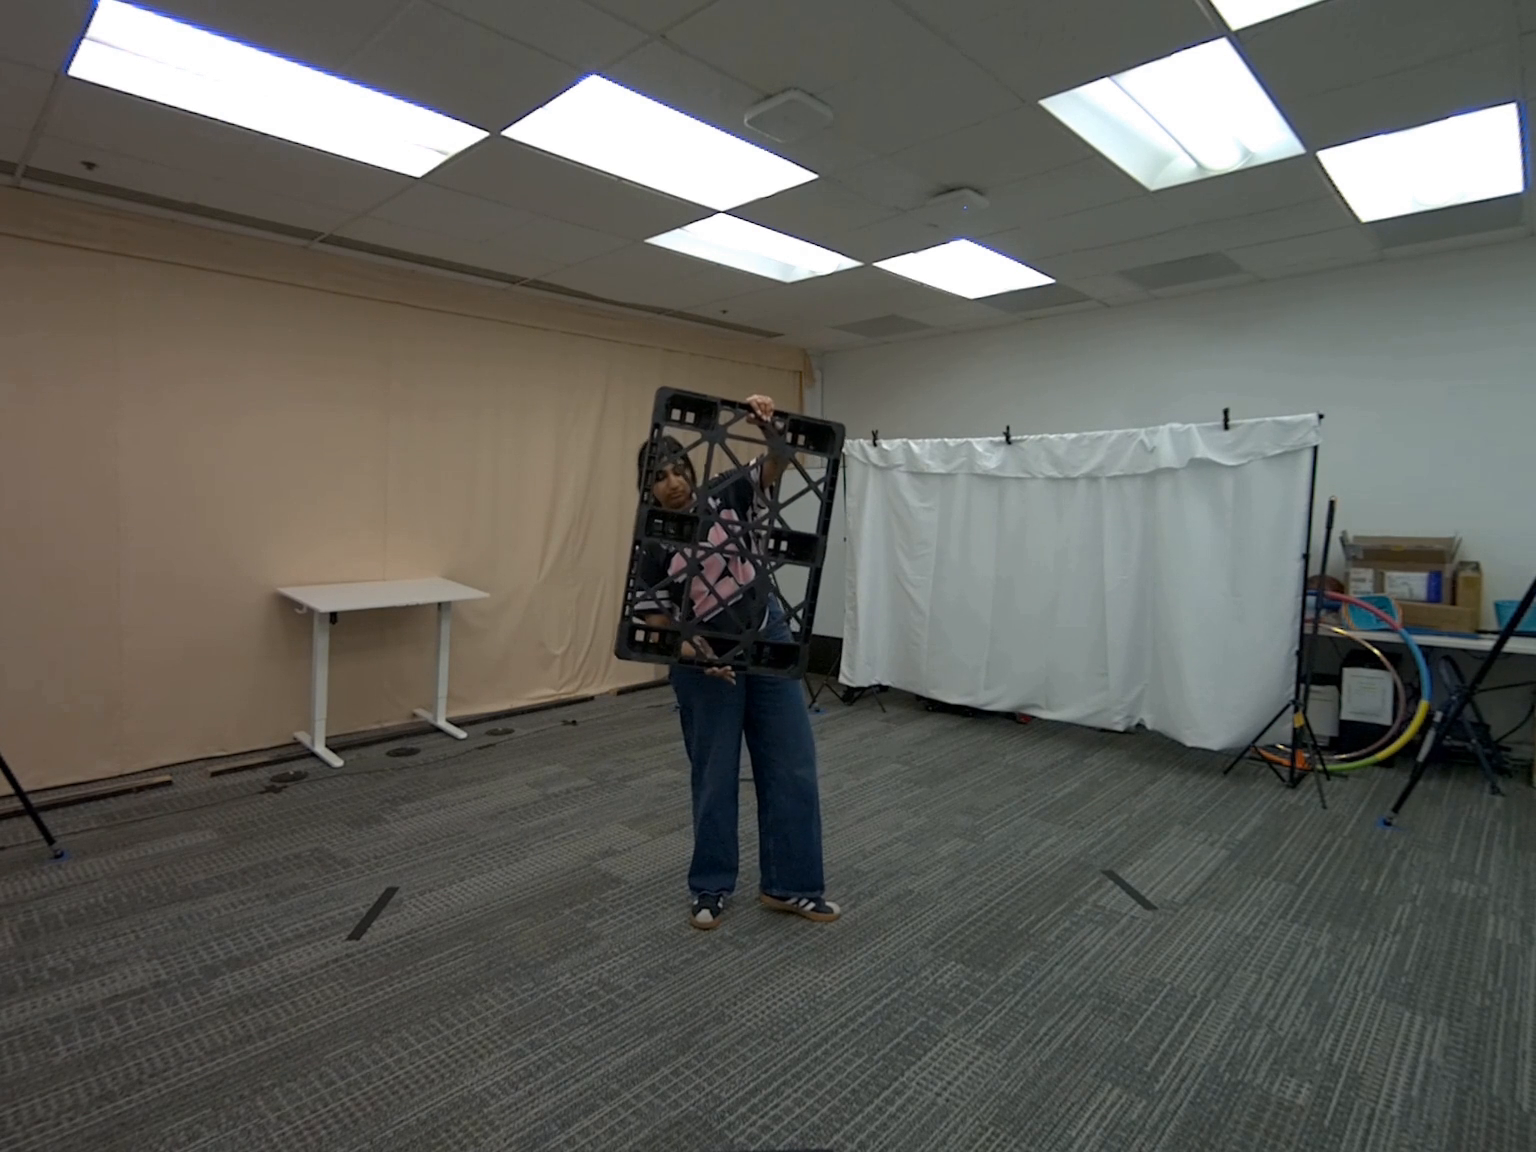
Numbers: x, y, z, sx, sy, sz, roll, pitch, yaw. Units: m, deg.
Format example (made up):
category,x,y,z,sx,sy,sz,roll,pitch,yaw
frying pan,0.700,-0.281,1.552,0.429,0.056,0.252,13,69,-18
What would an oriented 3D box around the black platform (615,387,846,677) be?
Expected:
category,x,y,z,sx,sy,sz,roll,pitch,yaw
black platform,-0.119,-0.116,2.564,0.594,0.805,0.146,8,2,-16
